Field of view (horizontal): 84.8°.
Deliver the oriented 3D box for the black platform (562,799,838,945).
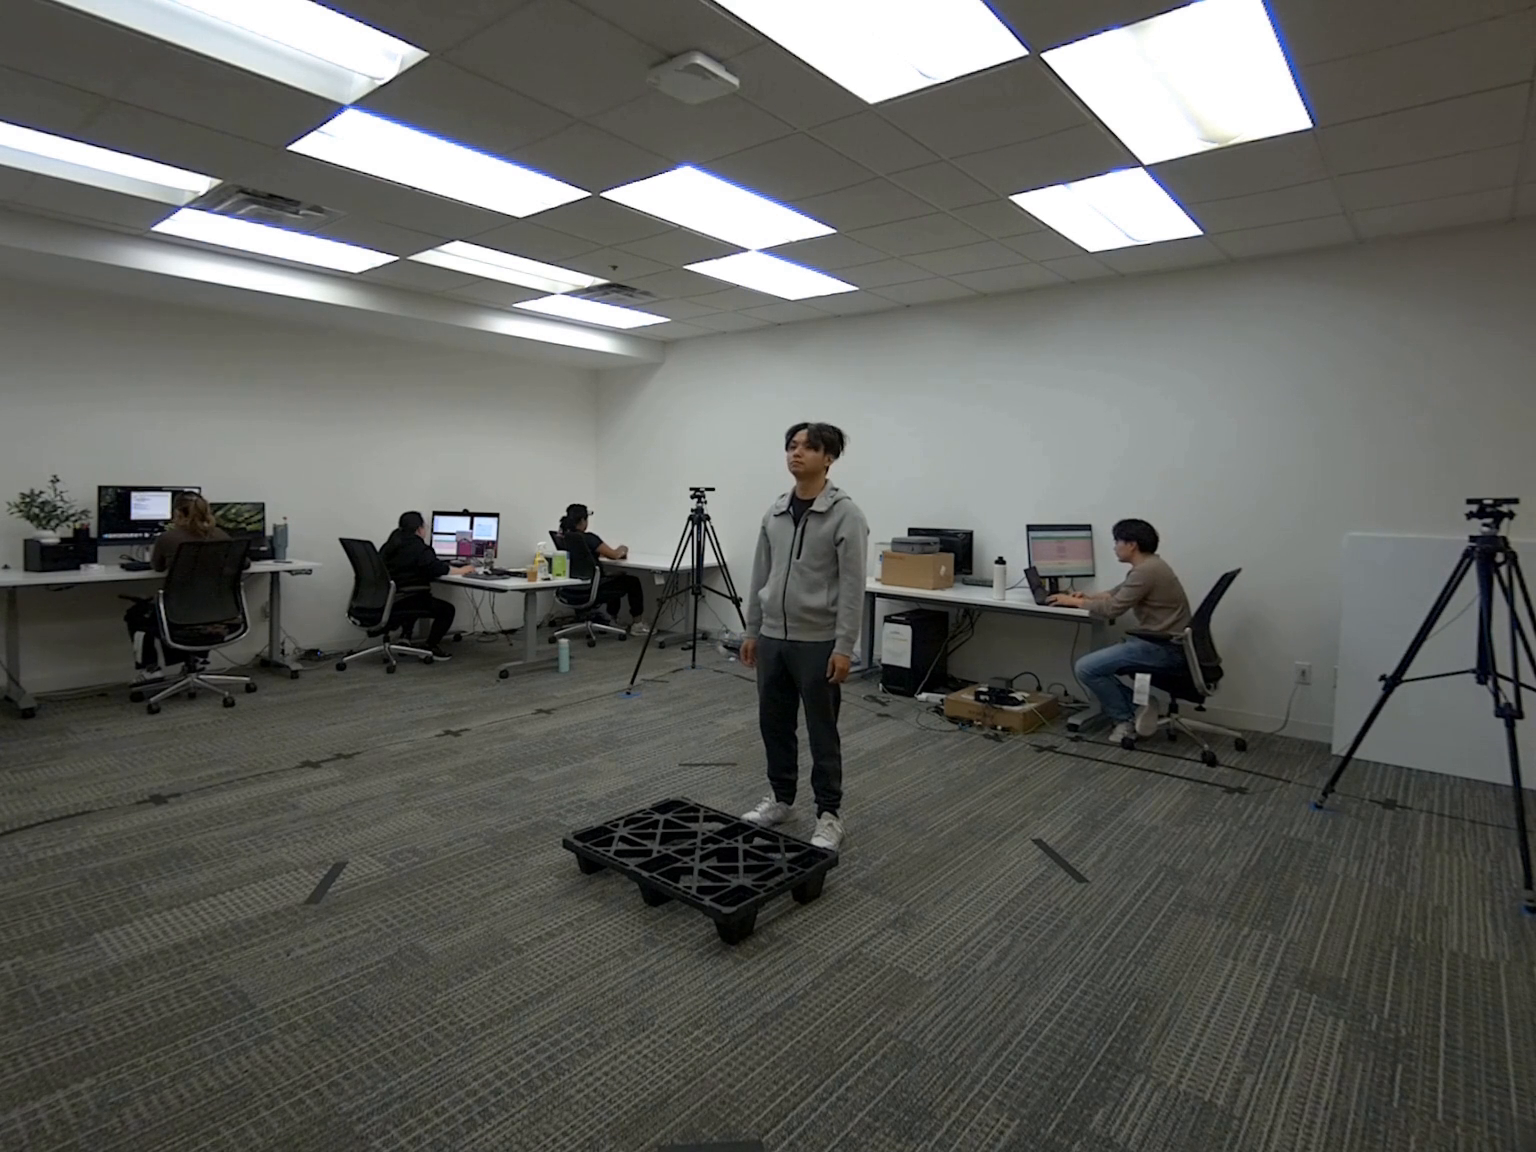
[{"bbox_3d":[-0.258,1.012,2.999,0.833,0.143,0.587,6,7,40],"label":"black platform"}]
